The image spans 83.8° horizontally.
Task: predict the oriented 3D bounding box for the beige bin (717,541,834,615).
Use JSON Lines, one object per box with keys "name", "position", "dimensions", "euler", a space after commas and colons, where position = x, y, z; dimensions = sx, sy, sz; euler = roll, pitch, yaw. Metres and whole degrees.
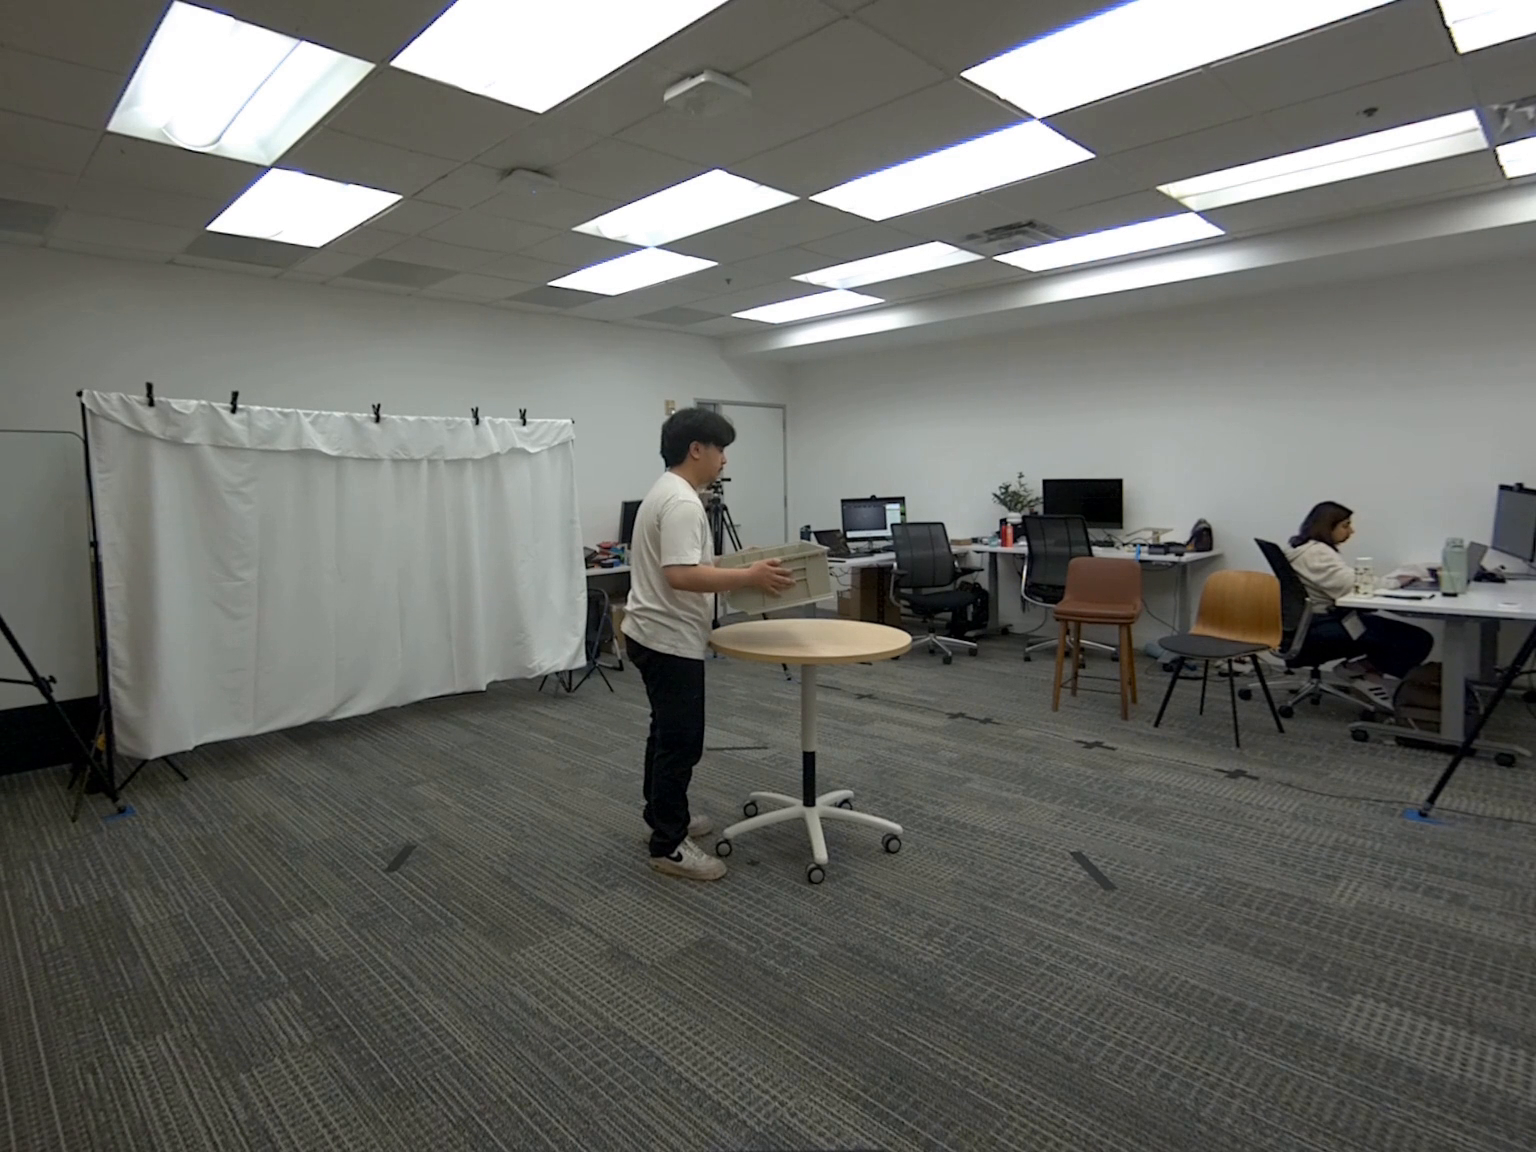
{"name": "beige bin", "position": [0.016, 0.012, 3.188], "dimensions": [0.375, 0.188, 0.427], "euler": [-10, 6, -7]}
